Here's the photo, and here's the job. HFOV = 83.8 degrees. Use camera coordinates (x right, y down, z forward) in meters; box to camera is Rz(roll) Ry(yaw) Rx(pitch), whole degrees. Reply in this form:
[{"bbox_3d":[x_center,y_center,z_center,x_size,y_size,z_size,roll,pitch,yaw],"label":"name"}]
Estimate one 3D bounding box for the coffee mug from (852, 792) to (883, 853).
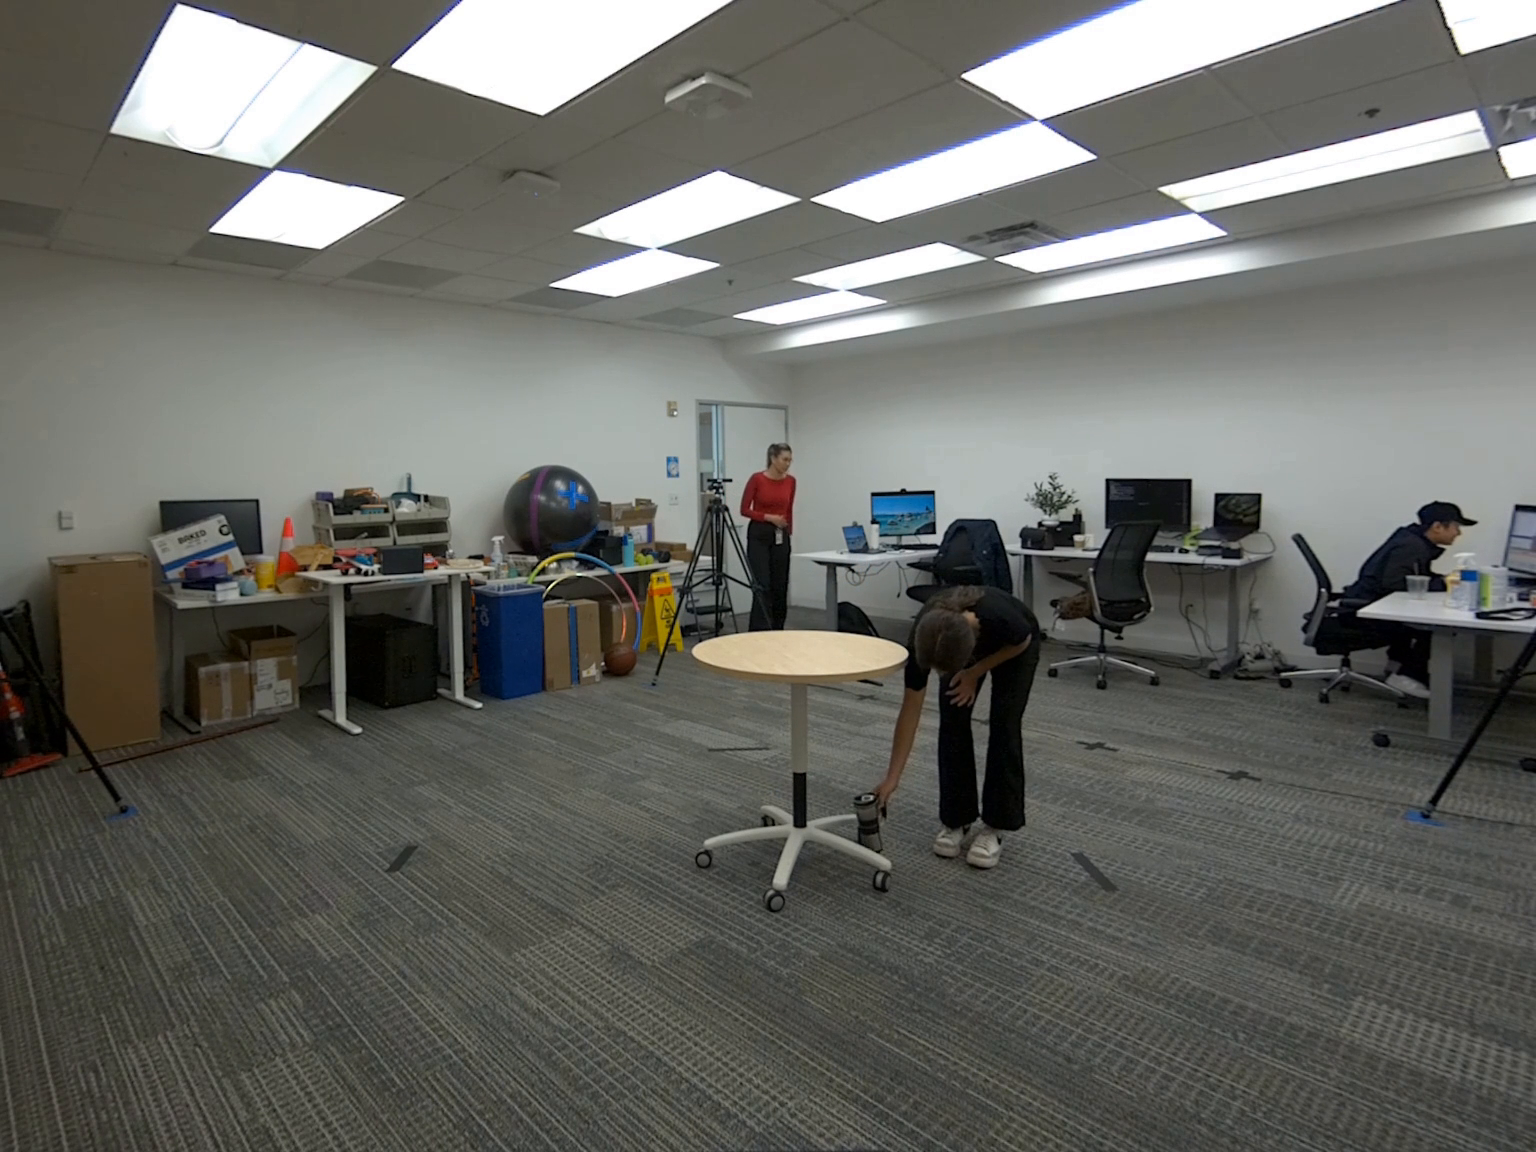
[{"bbox_3d":[0.375,0.895,3.098,0.121,0.203,0.088,-15,2,-8],"label":"coffee mug"}]
